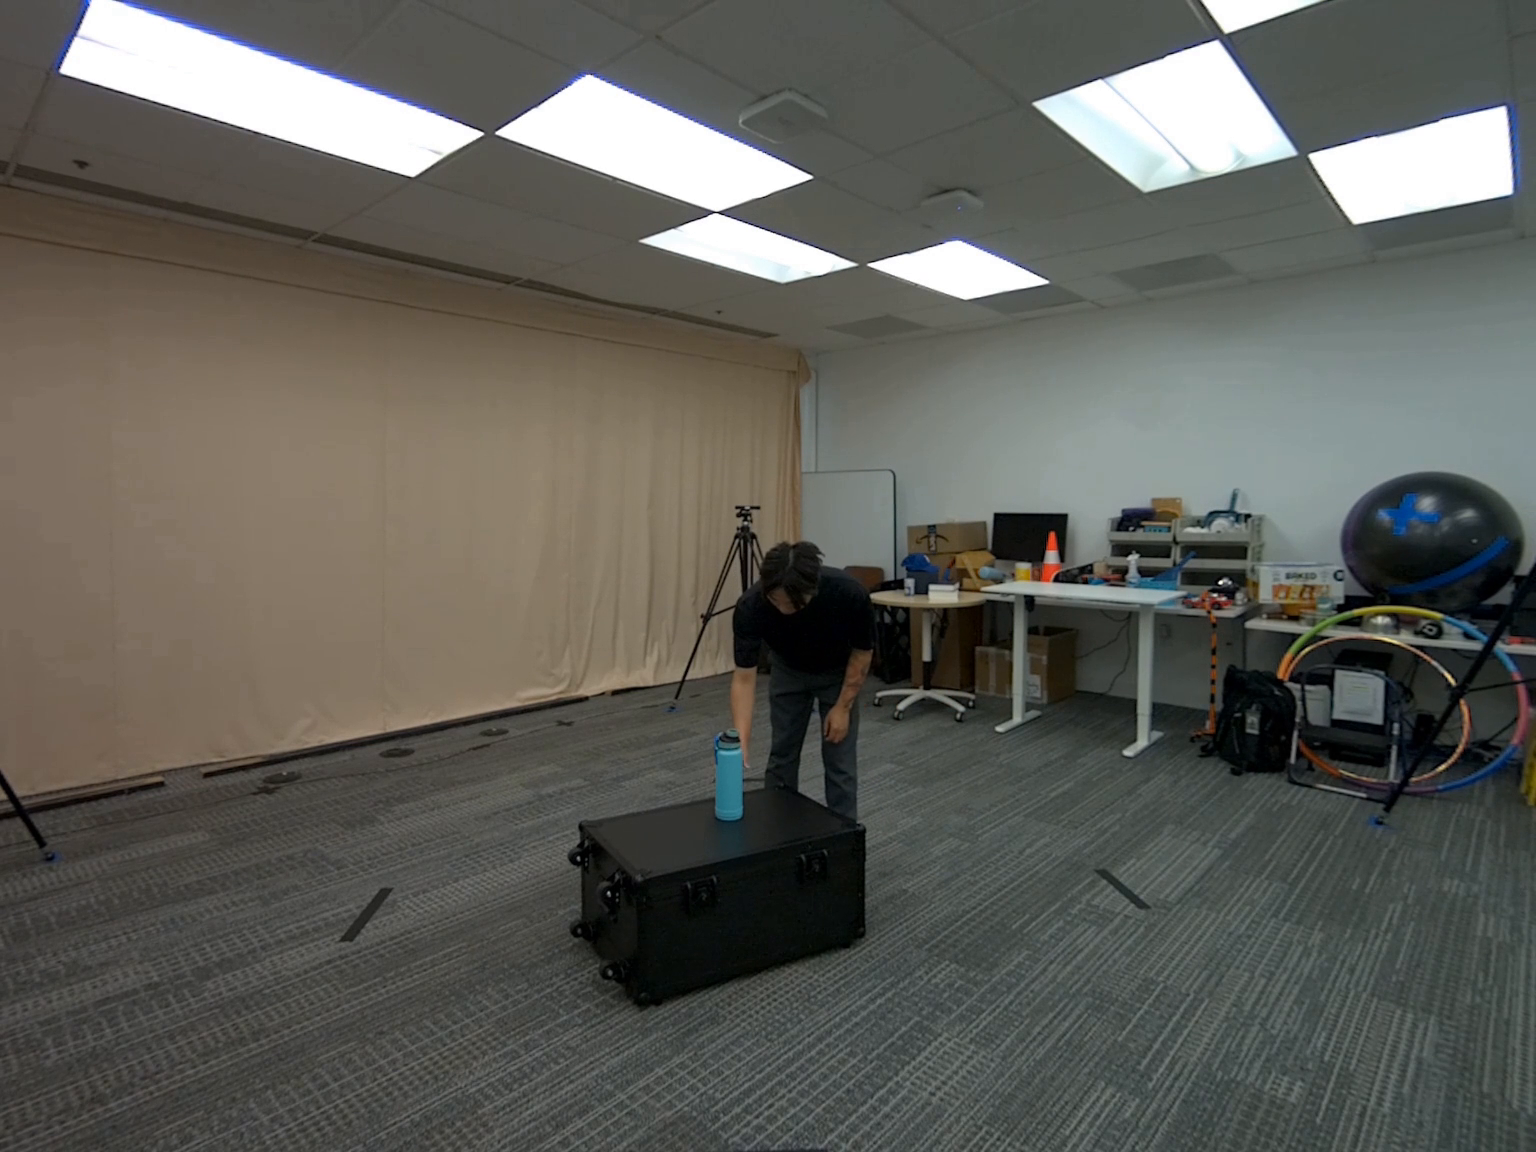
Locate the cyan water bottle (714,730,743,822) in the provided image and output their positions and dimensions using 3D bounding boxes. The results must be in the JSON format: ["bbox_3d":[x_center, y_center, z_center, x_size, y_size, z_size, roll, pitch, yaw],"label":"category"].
[{"bbox_3d":[-0.128,0.652,2.756,0.092,0.283,0.092,-3,1,-2],"label":"cyan water bottle"}]
